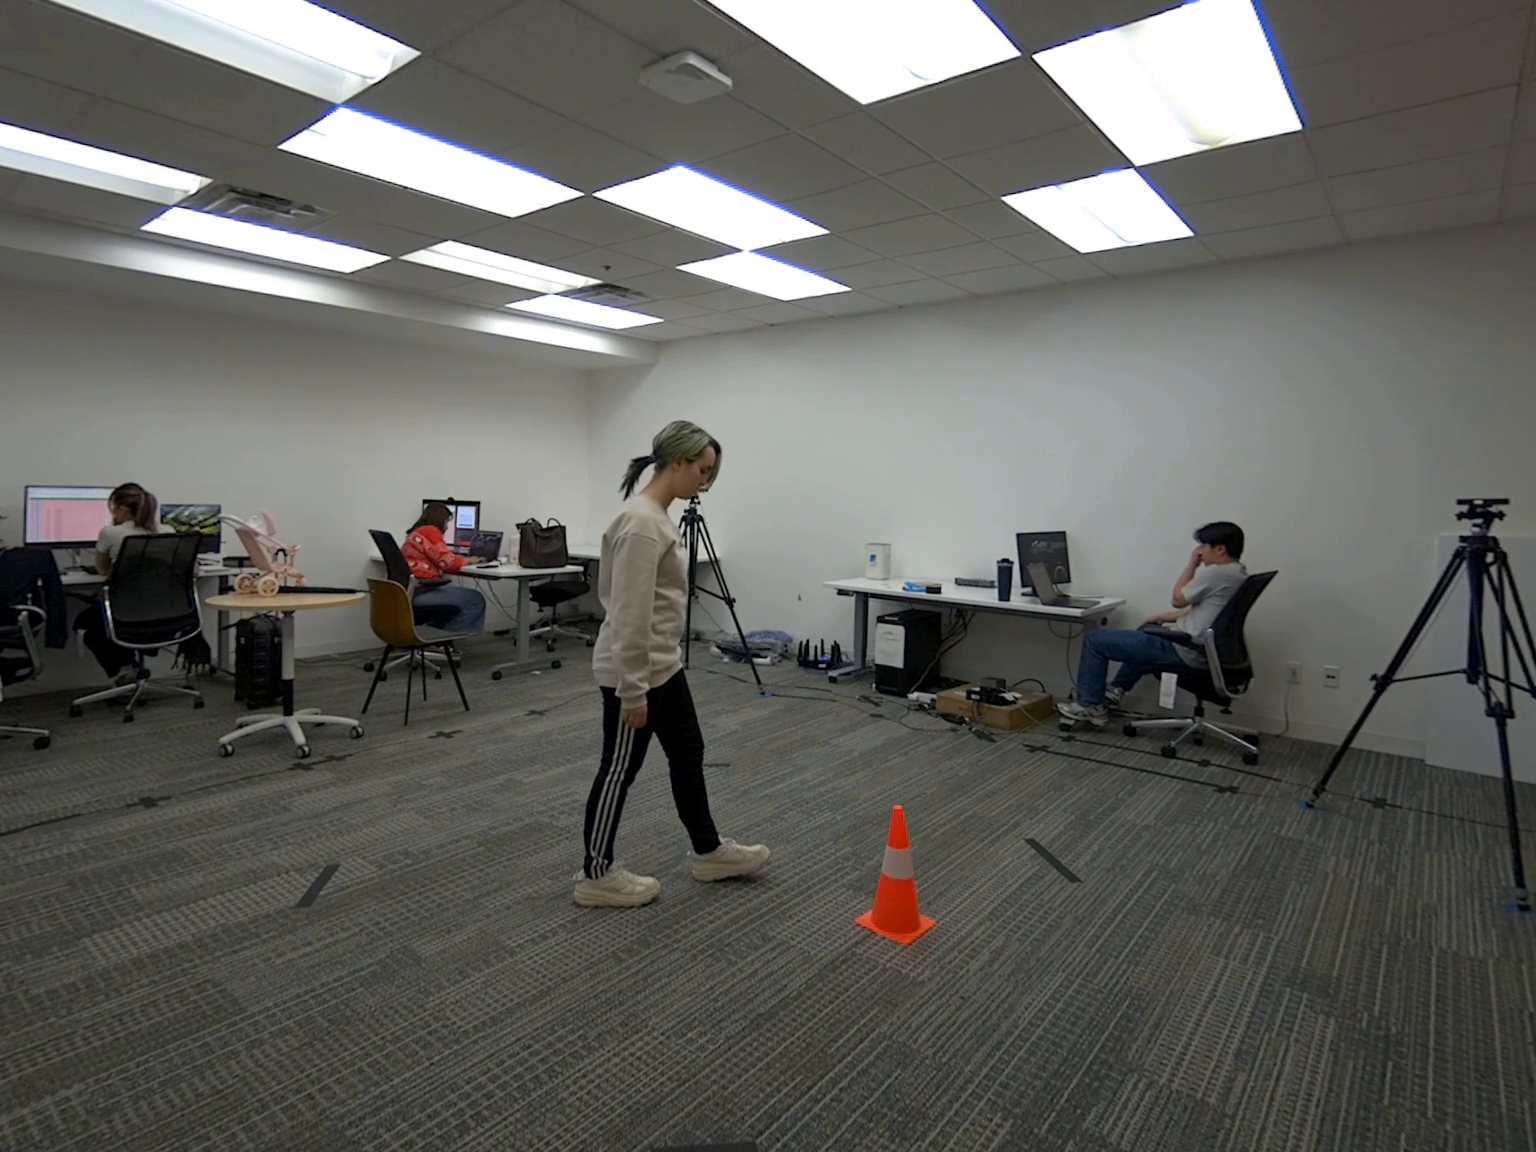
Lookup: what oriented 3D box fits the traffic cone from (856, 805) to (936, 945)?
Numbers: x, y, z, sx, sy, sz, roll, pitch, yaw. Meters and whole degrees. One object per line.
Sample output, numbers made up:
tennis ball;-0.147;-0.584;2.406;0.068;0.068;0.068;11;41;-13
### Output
traffic cone;0.406;0.933;2.740;0.199;0.382;0.210;-5;5;-40
